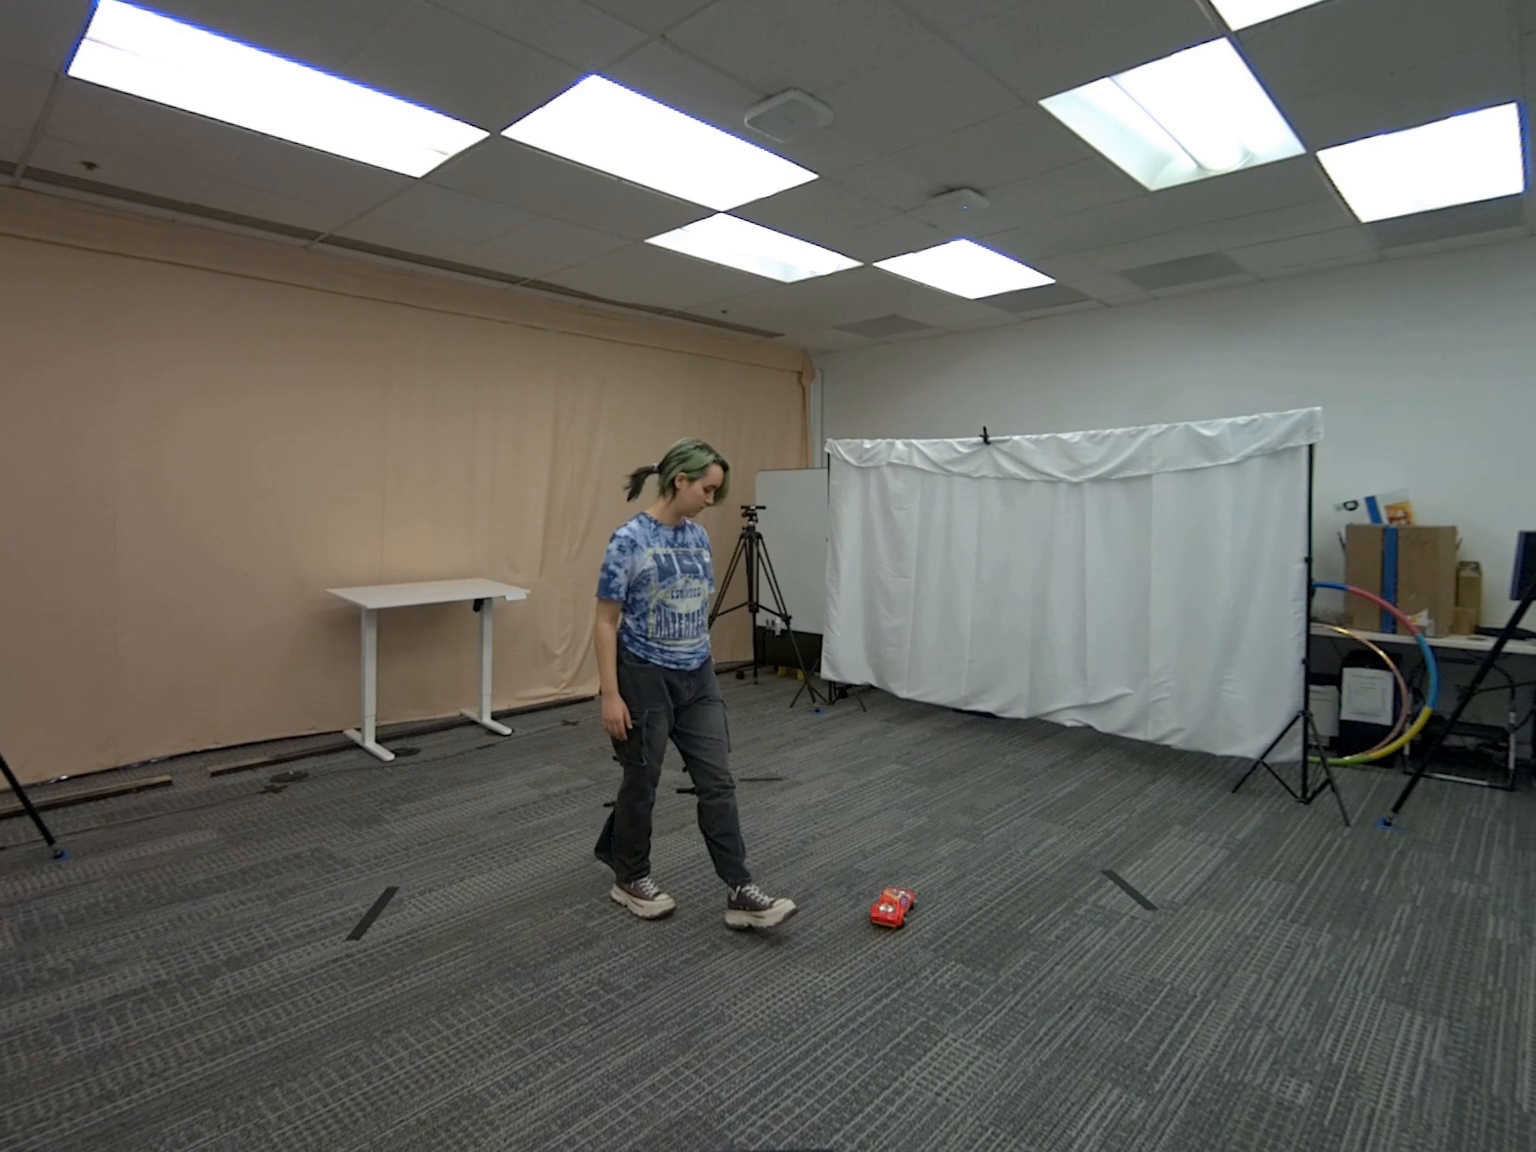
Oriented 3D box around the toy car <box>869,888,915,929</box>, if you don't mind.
[{"bbox_3d":[0.423,1.127,2.838,0.134,0.083,0.247,3,-5,25],"label":"toy car"}]
